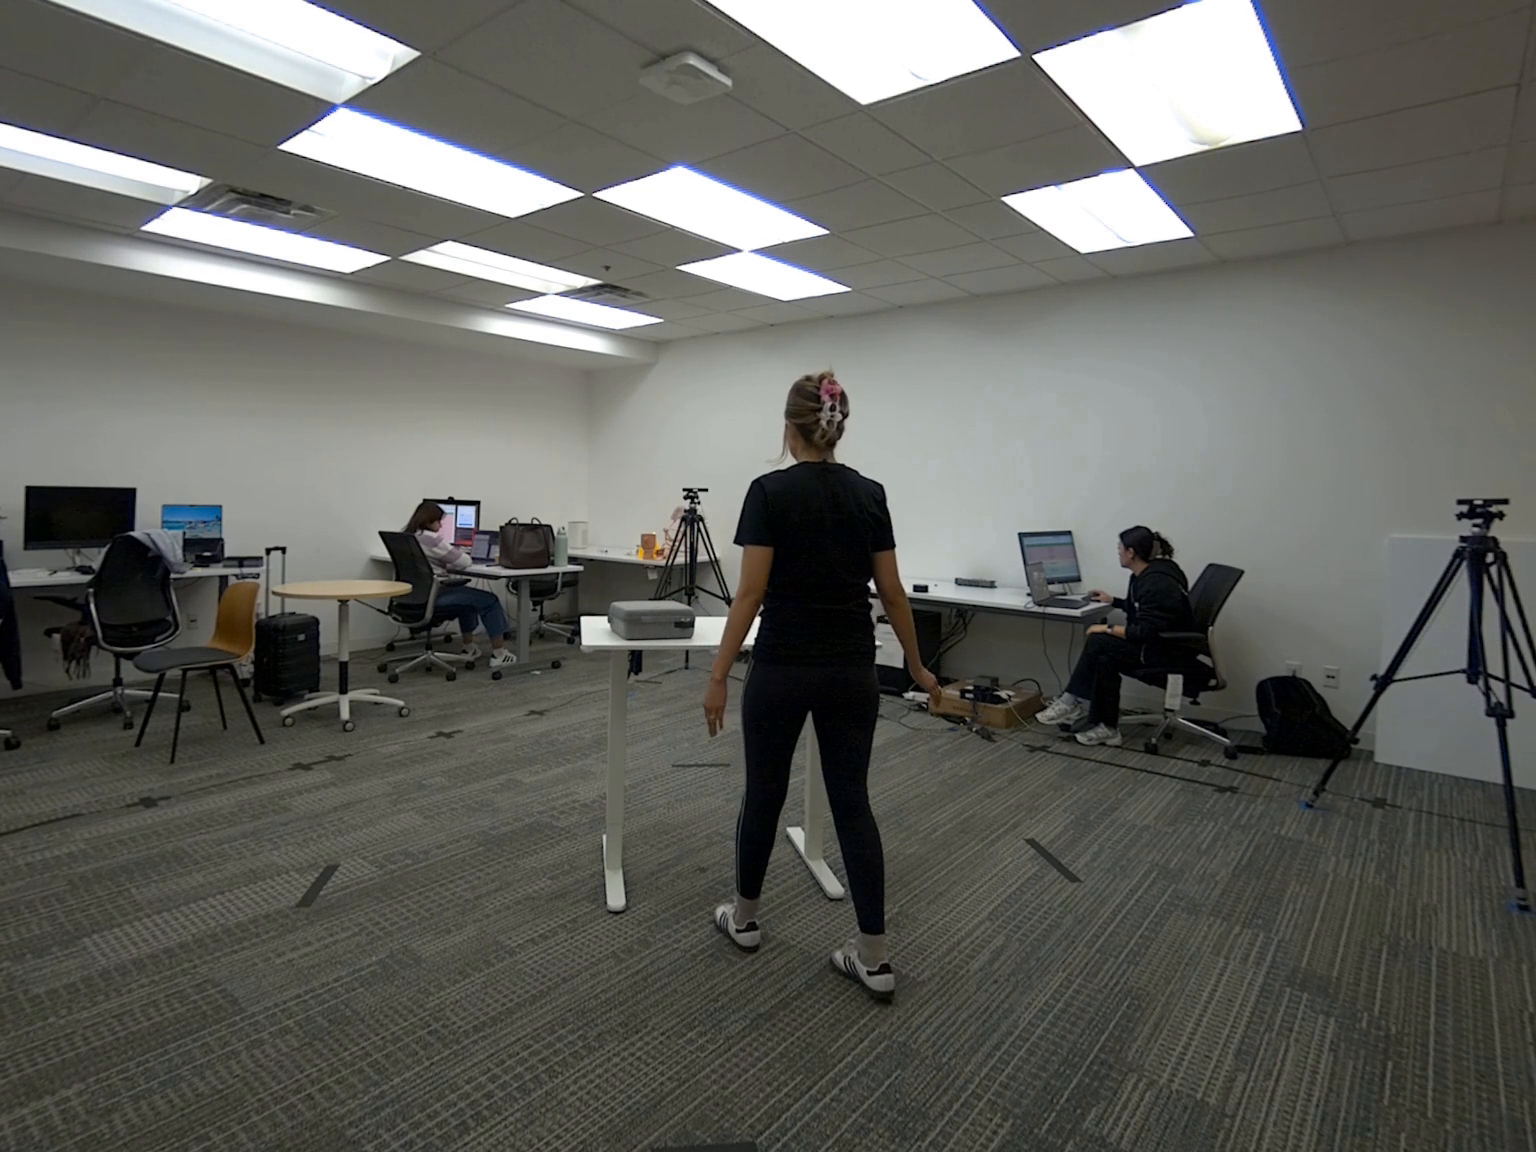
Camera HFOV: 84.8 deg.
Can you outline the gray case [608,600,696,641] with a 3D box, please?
[{"bbox_3d":[-0.415,0.145,2.940,0.251,0.104,0.267,-1,5,-22],"label":"gray case"}]
